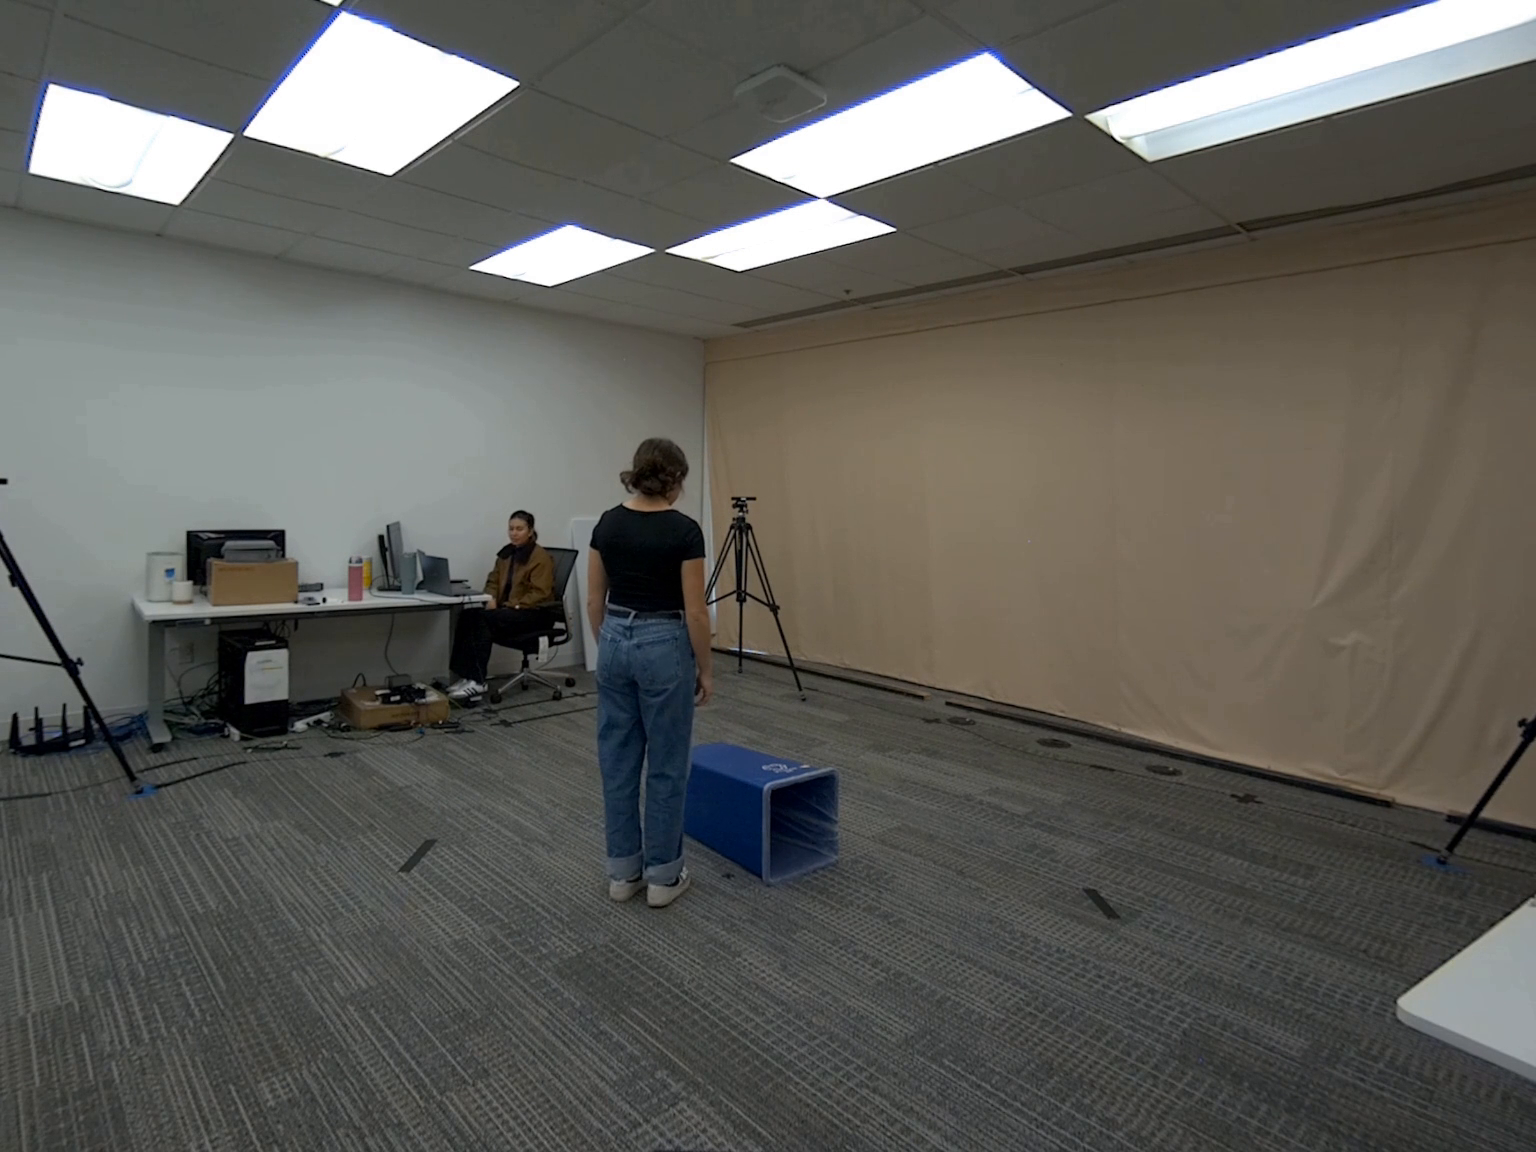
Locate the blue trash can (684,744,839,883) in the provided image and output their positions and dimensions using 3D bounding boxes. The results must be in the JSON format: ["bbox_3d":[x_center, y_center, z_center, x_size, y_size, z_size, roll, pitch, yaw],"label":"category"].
[{"bbox_3d":[-0.098,0.917,3.404,0.370,0.373,0.730,-3,3,-38],"label":"blue trash can"}]
